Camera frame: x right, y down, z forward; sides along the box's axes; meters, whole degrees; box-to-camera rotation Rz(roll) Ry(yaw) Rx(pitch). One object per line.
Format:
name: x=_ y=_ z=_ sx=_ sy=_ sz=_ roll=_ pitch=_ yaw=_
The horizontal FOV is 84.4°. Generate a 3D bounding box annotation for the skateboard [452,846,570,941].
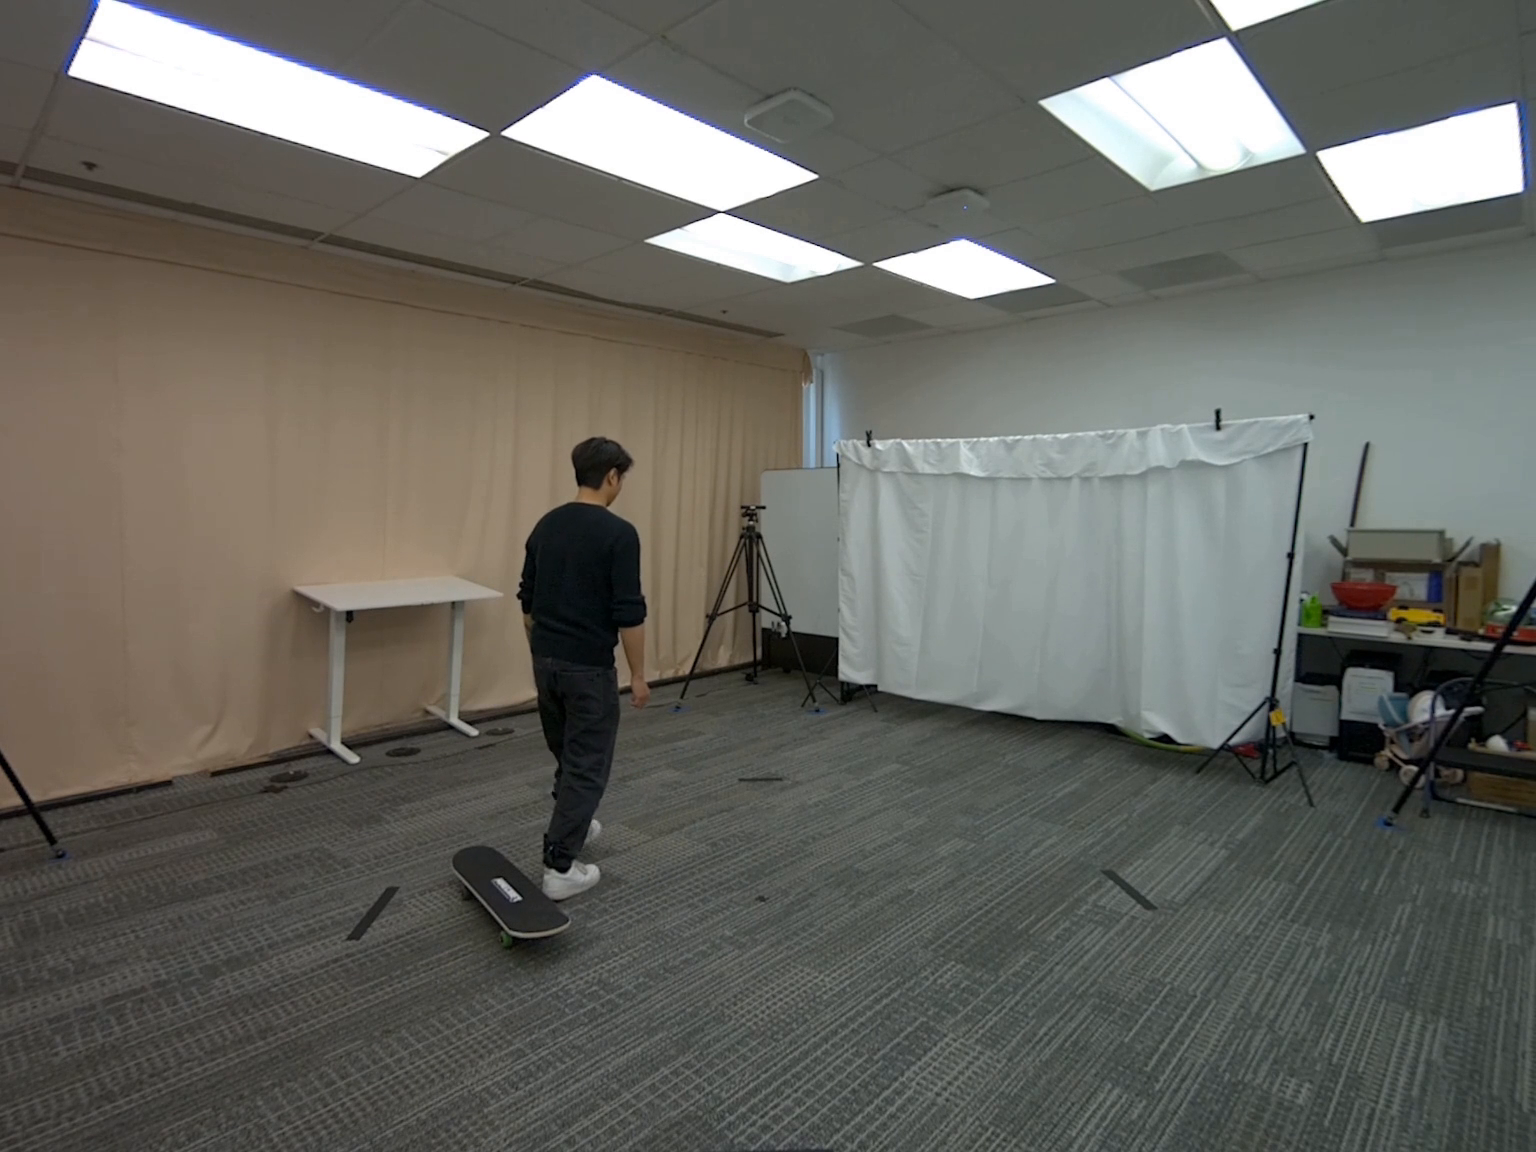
skateboard: x=-0.891 y=1.100 z=2.880 sx=0.188 sy=0.110 sz=0.811 roll=-3 pitch=5 yaw=-36
